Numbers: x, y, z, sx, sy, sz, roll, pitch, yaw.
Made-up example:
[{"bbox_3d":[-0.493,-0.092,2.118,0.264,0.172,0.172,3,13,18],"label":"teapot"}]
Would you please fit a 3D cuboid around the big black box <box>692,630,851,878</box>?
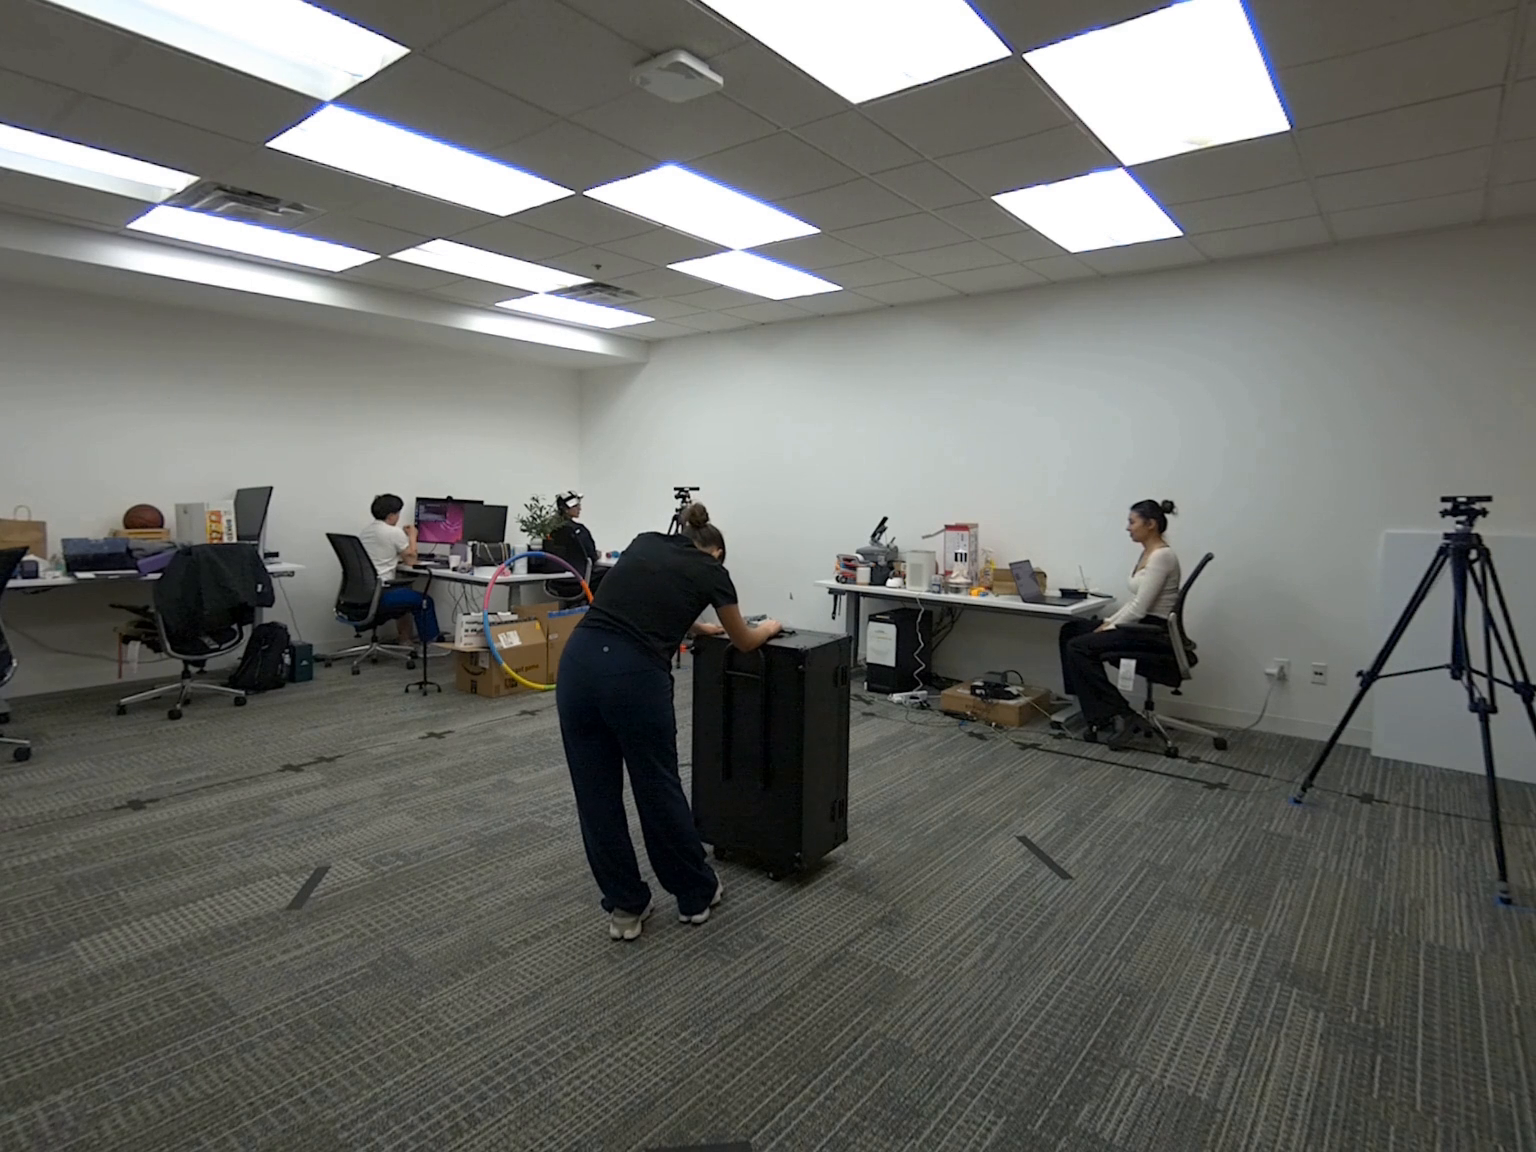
[{"bbox_3d":[0.030,0.640,3.207,0.538,0.859,0.385,2,4,35],"label":"big black box"}]
